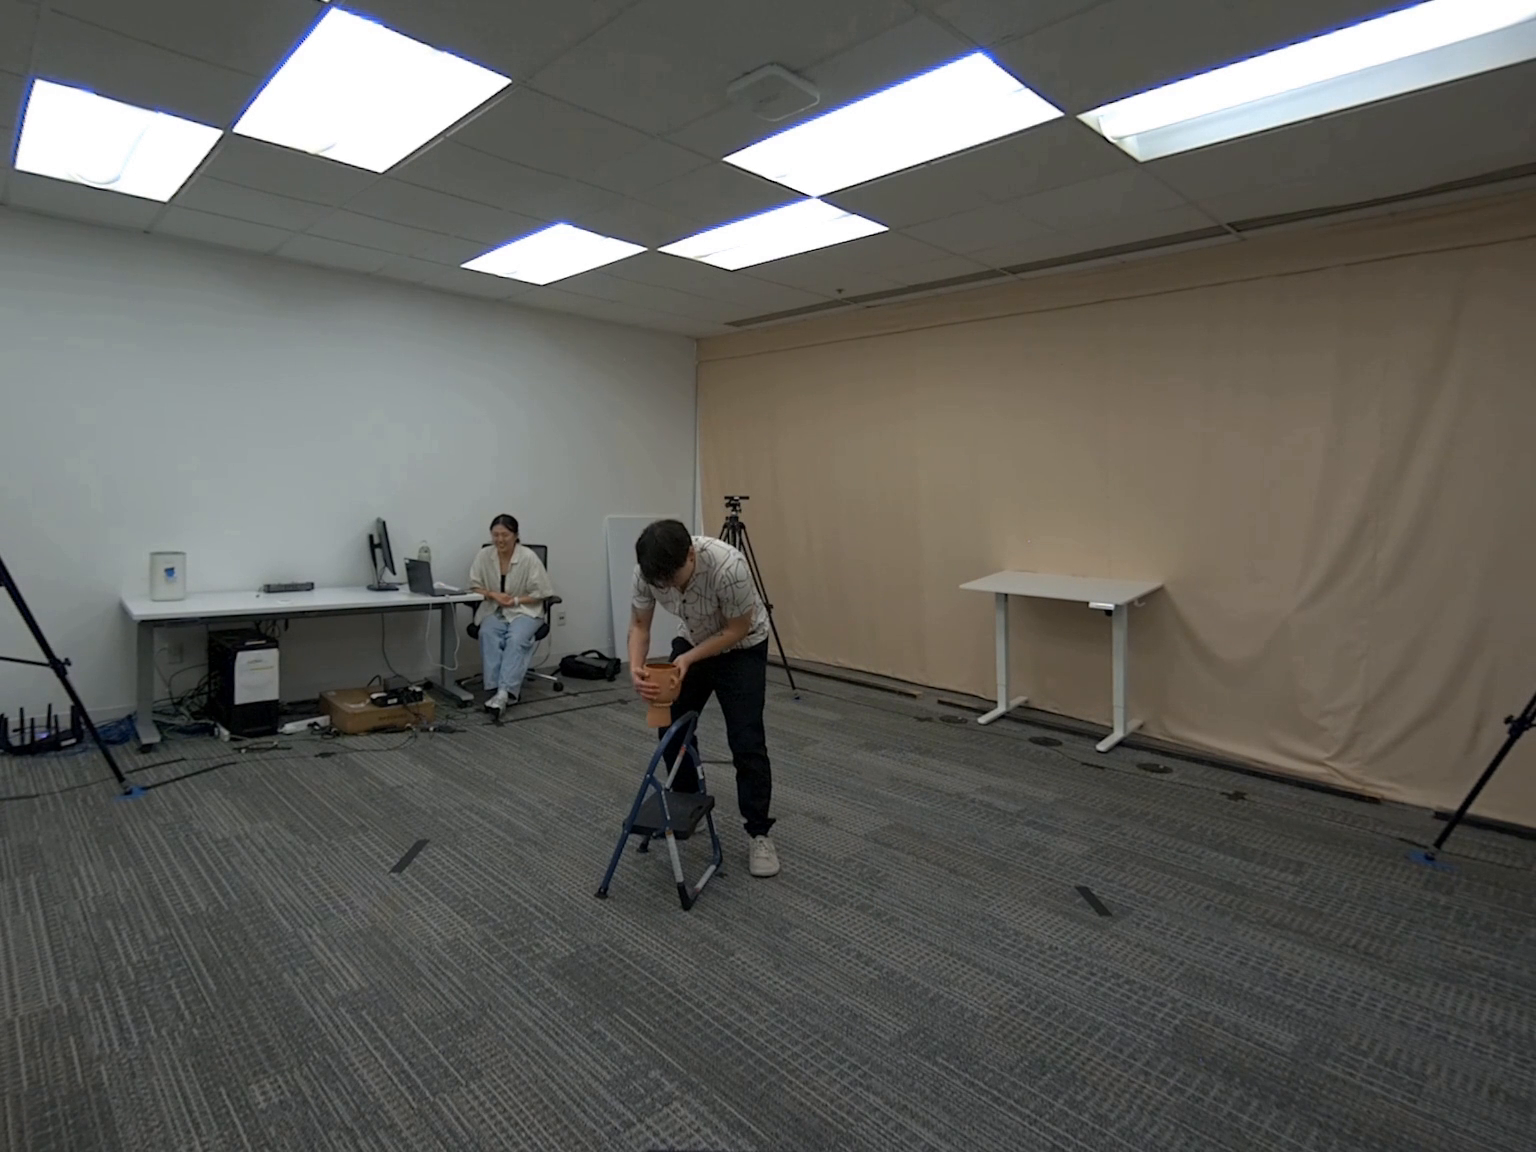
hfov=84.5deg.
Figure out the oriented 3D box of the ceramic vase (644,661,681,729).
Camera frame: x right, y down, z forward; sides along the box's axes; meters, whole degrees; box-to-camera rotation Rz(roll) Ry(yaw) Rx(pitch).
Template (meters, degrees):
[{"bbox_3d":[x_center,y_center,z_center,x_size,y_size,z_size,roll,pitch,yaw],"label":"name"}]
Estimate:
[{"bbox_3d":[-0.410,0.443,3.175,0.134,0.219,0.160,1,5,-6],"label":"ceramic vase"}]
